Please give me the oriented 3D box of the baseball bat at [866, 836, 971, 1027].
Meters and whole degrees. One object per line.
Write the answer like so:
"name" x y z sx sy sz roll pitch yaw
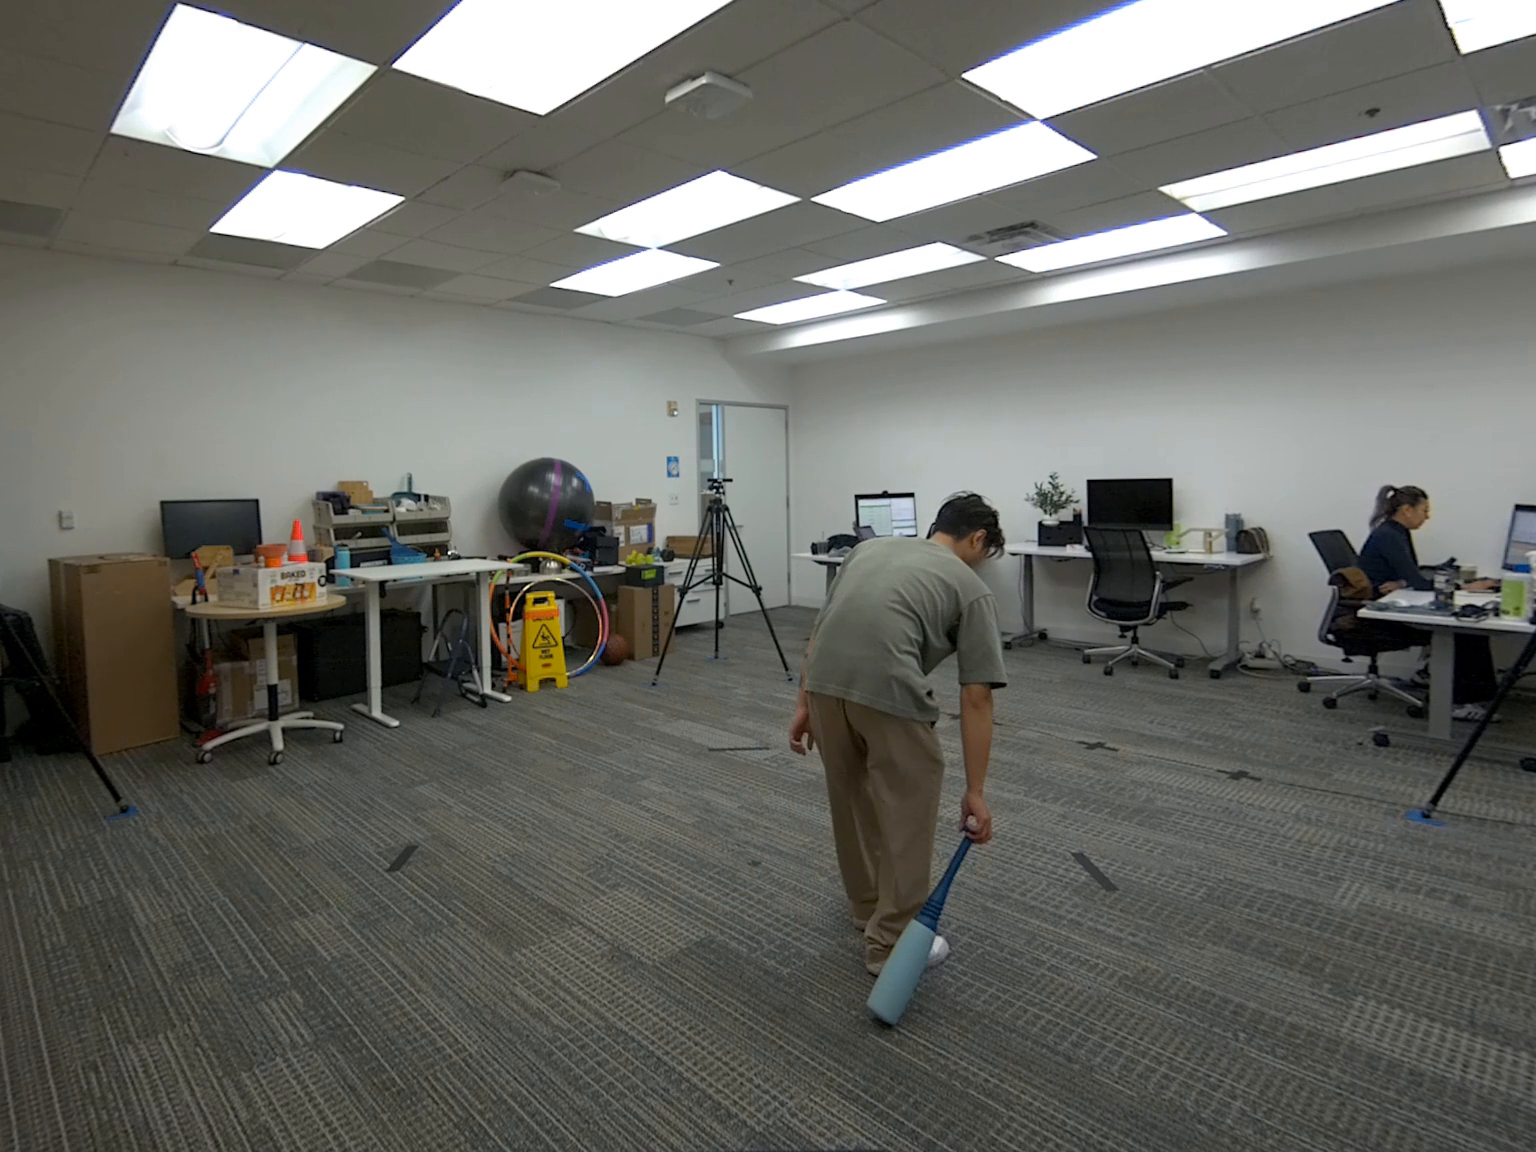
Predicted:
"baseball bat" 0.435 0.918 2.256 0.090 0.545 0.087 32 -17 9
